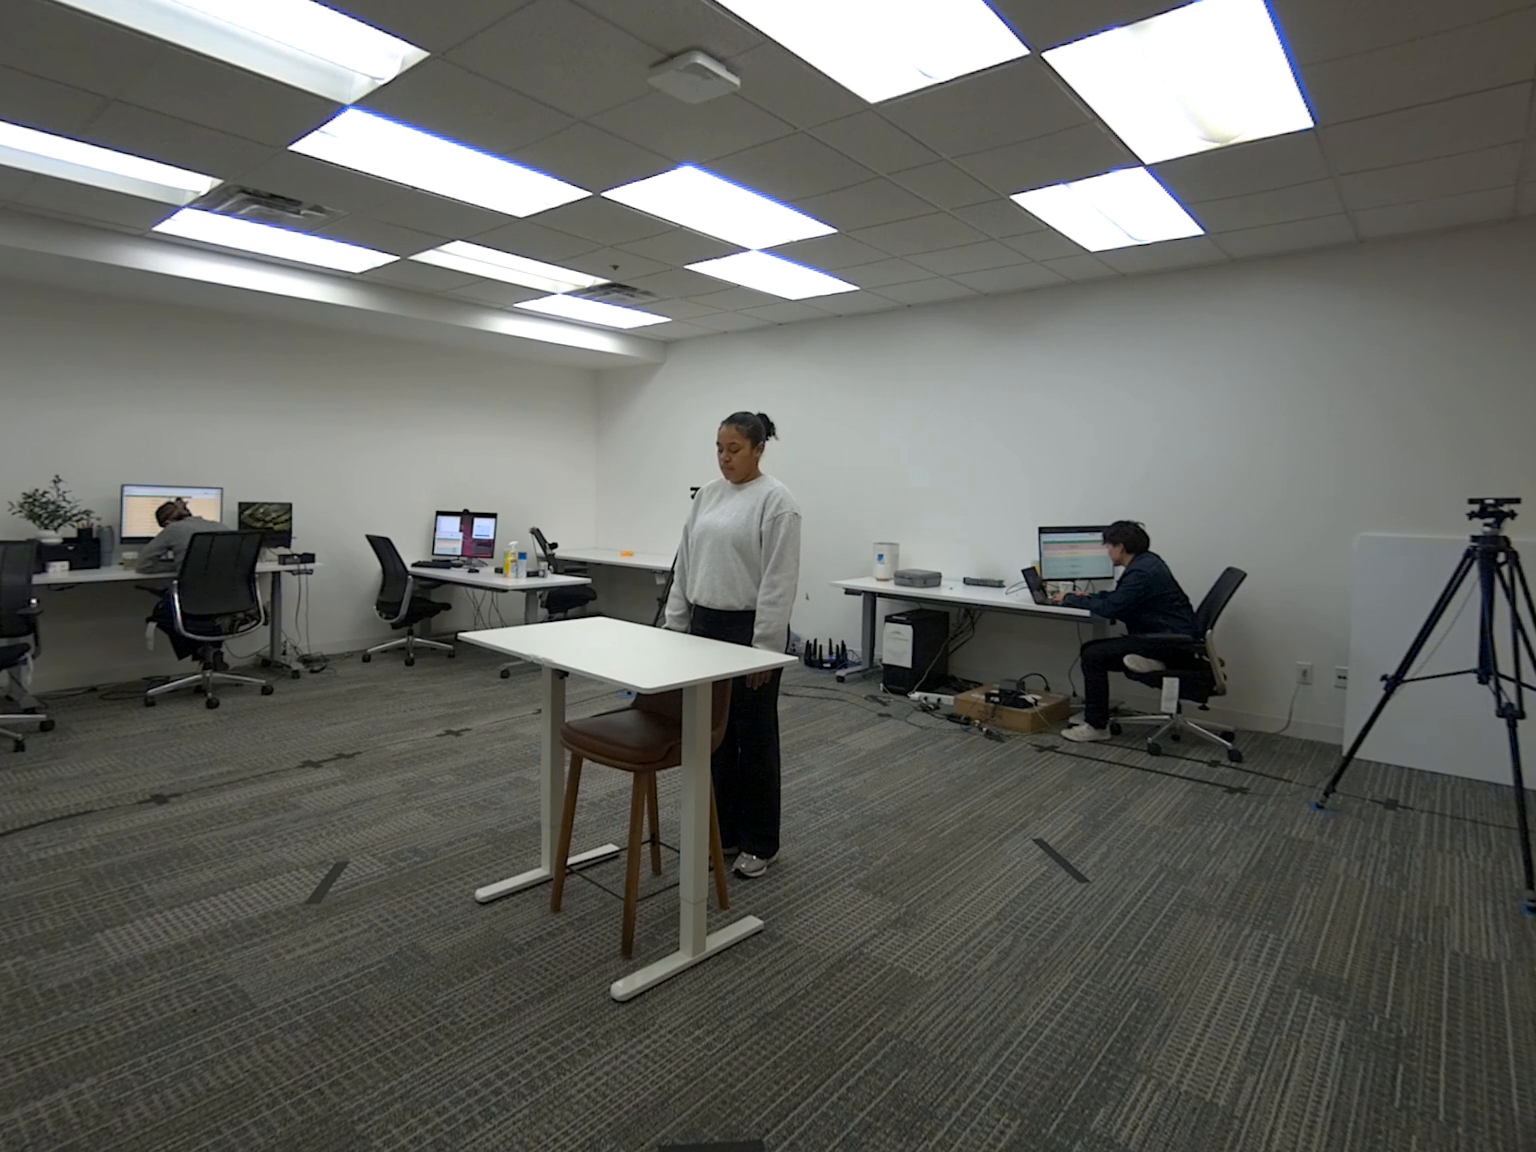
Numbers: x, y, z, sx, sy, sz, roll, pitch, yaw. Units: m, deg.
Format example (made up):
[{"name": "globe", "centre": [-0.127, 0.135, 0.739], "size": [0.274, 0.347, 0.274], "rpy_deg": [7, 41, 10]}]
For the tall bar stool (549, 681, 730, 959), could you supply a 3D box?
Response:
[{"name": "tall bar stool", "centre": [-0.403, 0.658, 2.781], "size": [0.472, 0.888, 0.452], "rpy_deg": [5, 3, 44]}]
